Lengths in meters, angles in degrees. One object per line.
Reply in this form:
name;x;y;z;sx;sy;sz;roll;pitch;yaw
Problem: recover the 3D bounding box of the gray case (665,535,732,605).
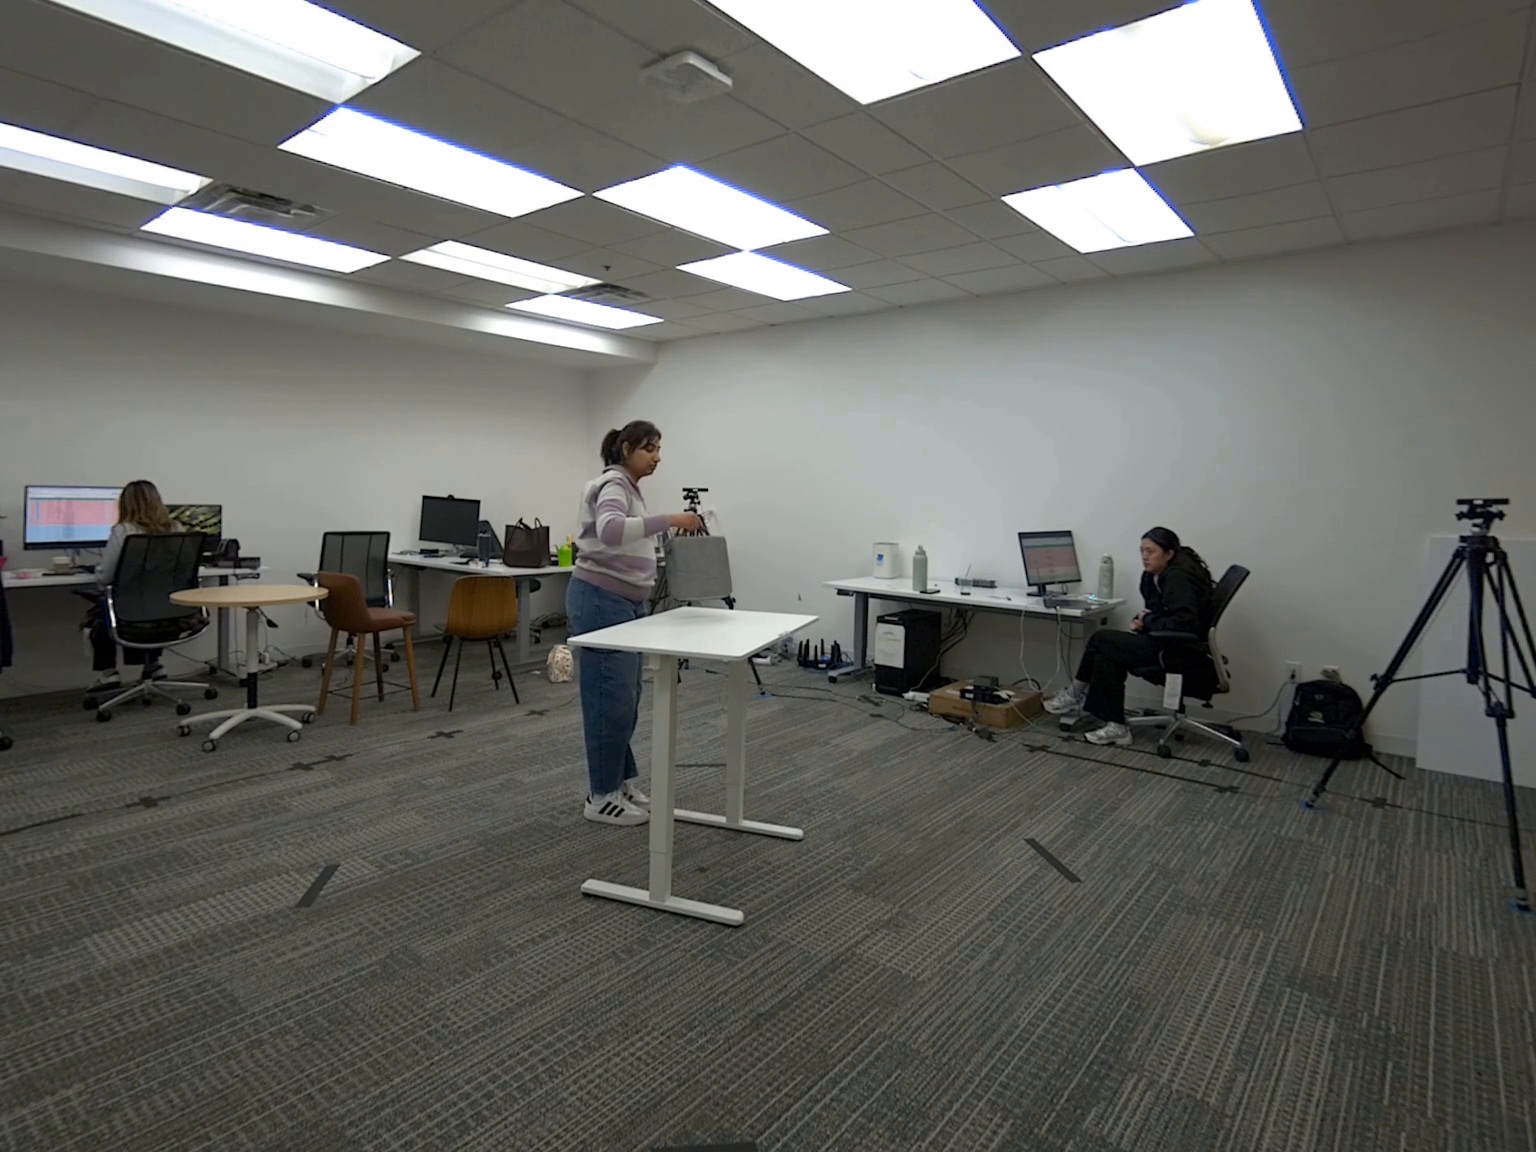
gray case;-0.293;-0.038;3.394;0.250;0.262;0.106;-5;-4;-33
